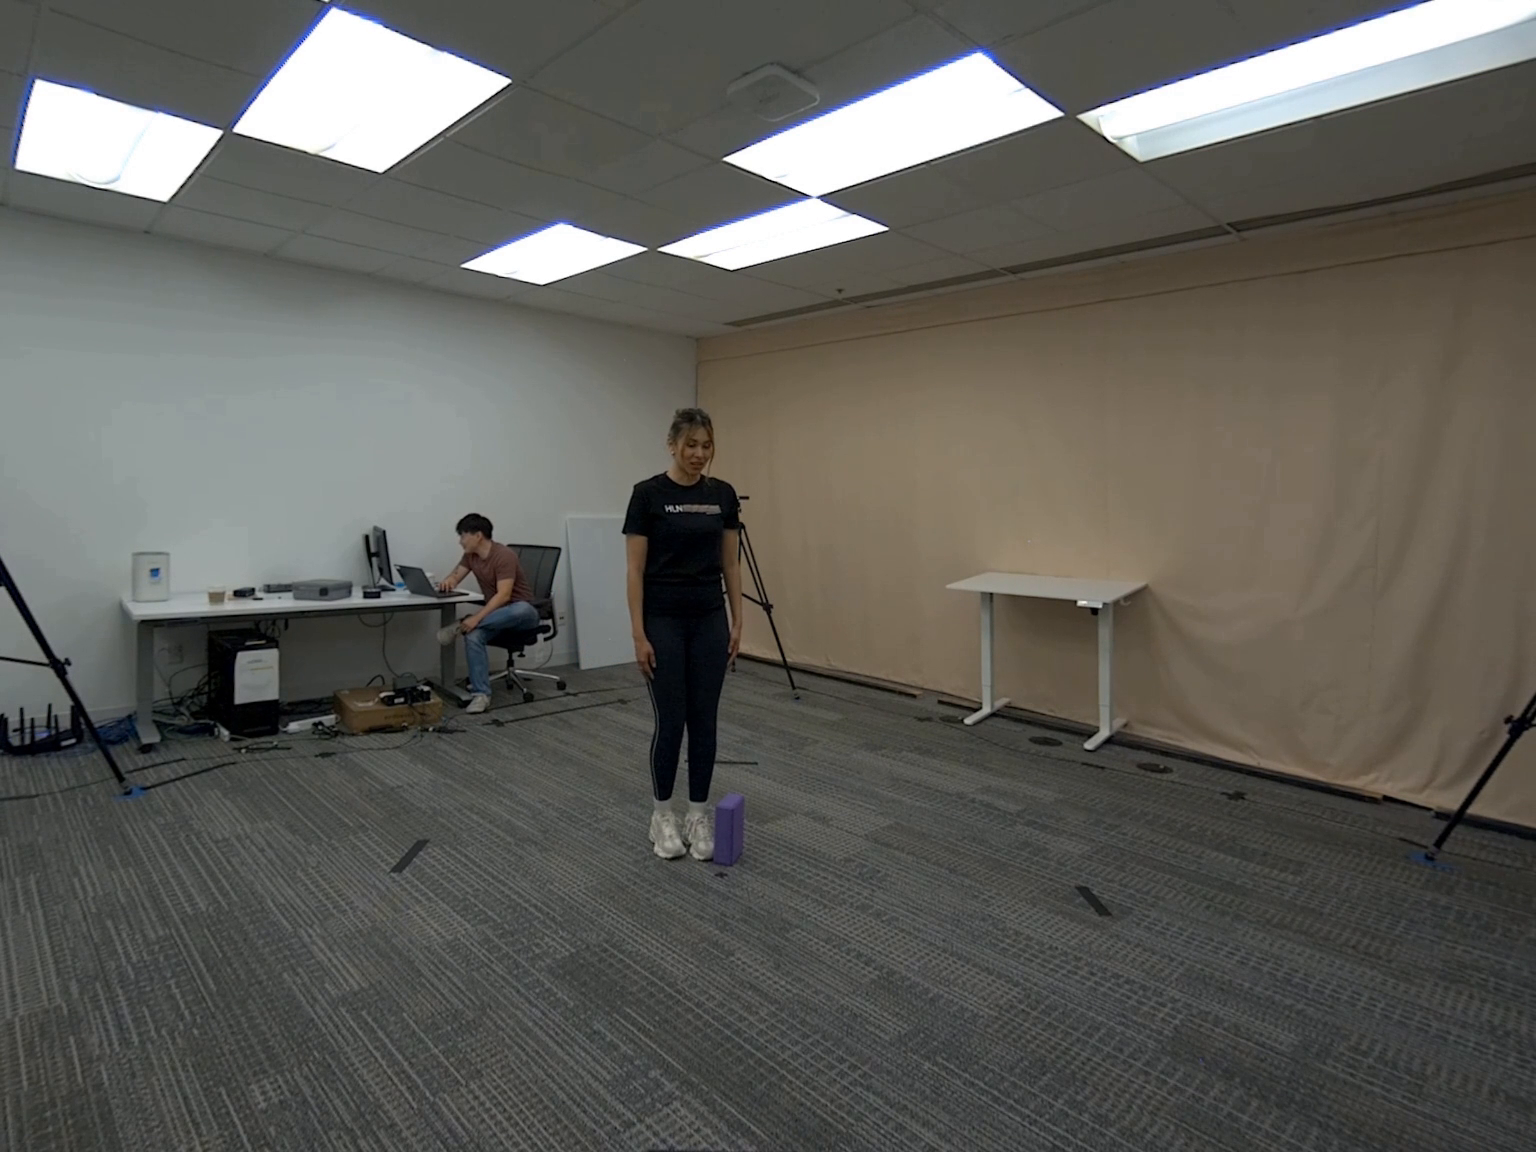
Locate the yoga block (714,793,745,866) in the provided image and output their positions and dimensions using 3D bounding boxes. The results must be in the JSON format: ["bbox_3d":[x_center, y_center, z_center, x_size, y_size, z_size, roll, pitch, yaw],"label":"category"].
[{"bbox_3d":[-0.155,0.978,3.241,0.077,0.229,0.147,3,4,17],"label":"yoga block"}]
